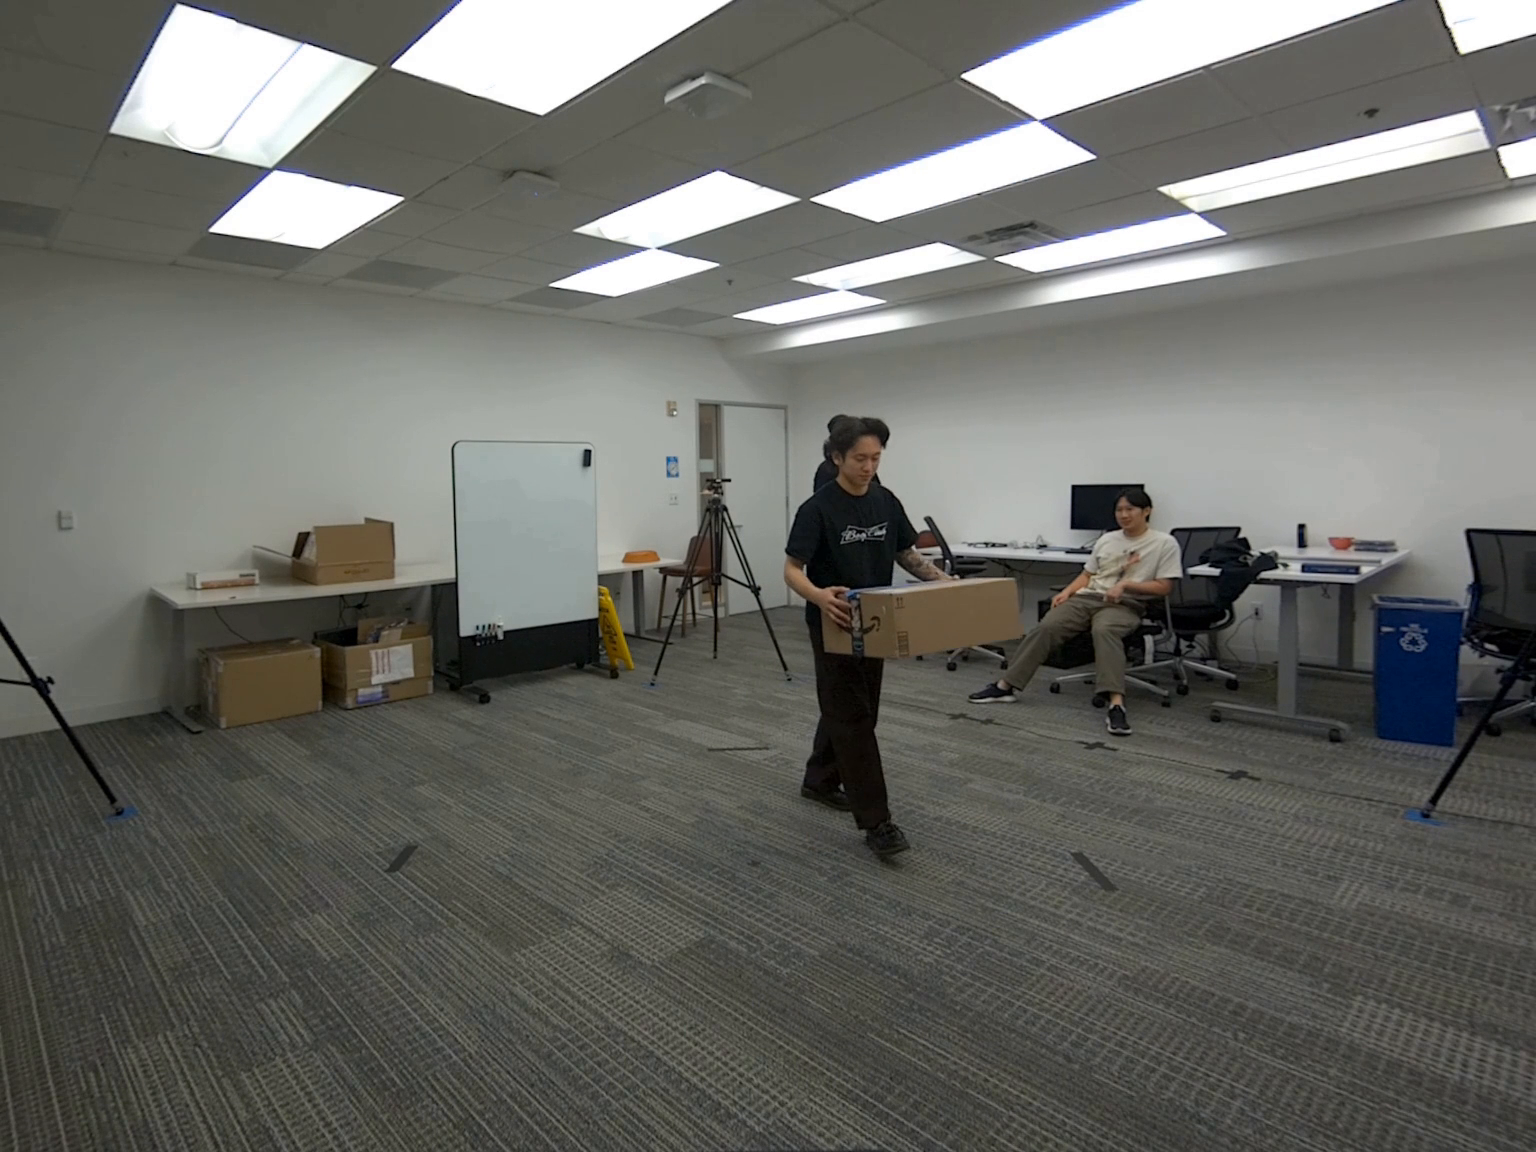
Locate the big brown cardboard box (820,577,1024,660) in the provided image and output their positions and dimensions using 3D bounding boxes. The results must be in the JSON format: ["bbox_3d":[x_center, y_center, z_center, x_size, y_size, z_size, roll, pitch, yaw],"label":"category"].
[{"bbox_3d":[0.535,0.140,3.053,0.575,0.233,0.427,-5,0,-29],"label":"big brown cardboard box"}]
